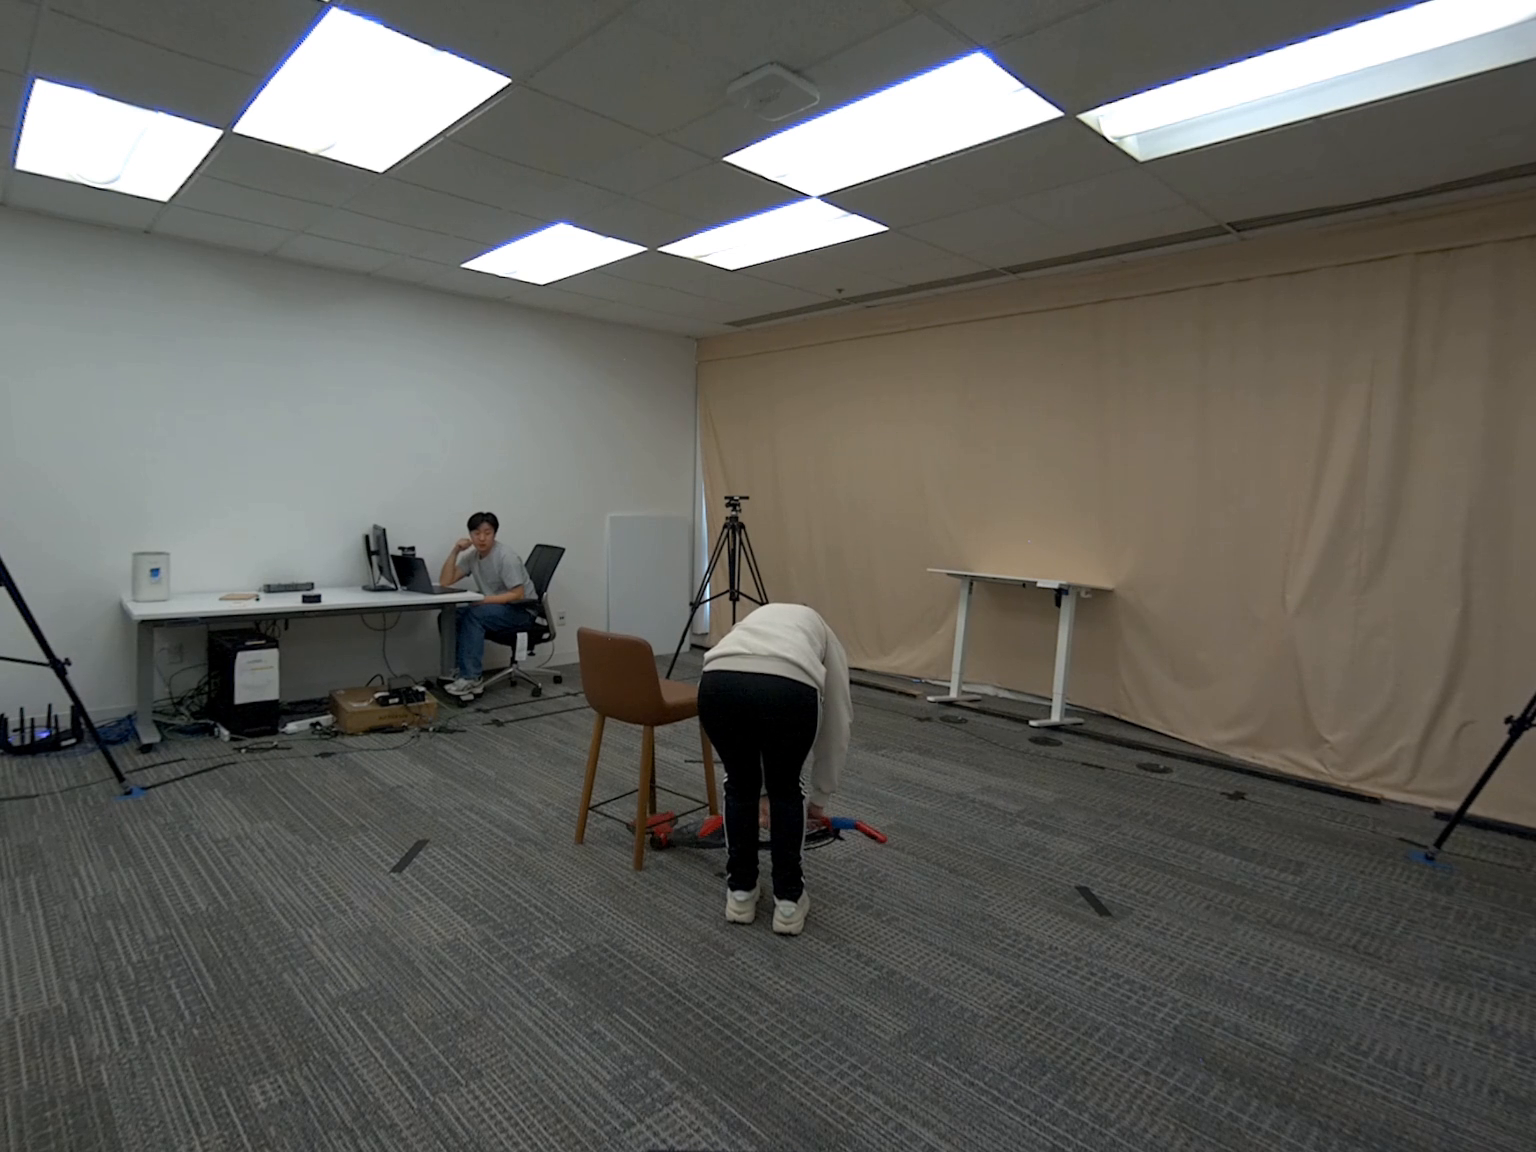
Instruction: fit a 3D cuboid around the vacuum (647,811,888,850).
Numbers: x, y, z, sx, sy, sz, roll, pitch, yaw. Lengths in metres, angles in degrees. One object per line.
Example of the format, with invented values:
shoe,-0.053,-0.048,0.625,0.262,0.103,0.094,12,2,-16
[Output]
vacuum,-0.036,0.940,3.040,1.068,0.144,0.247,-12,-4,39
